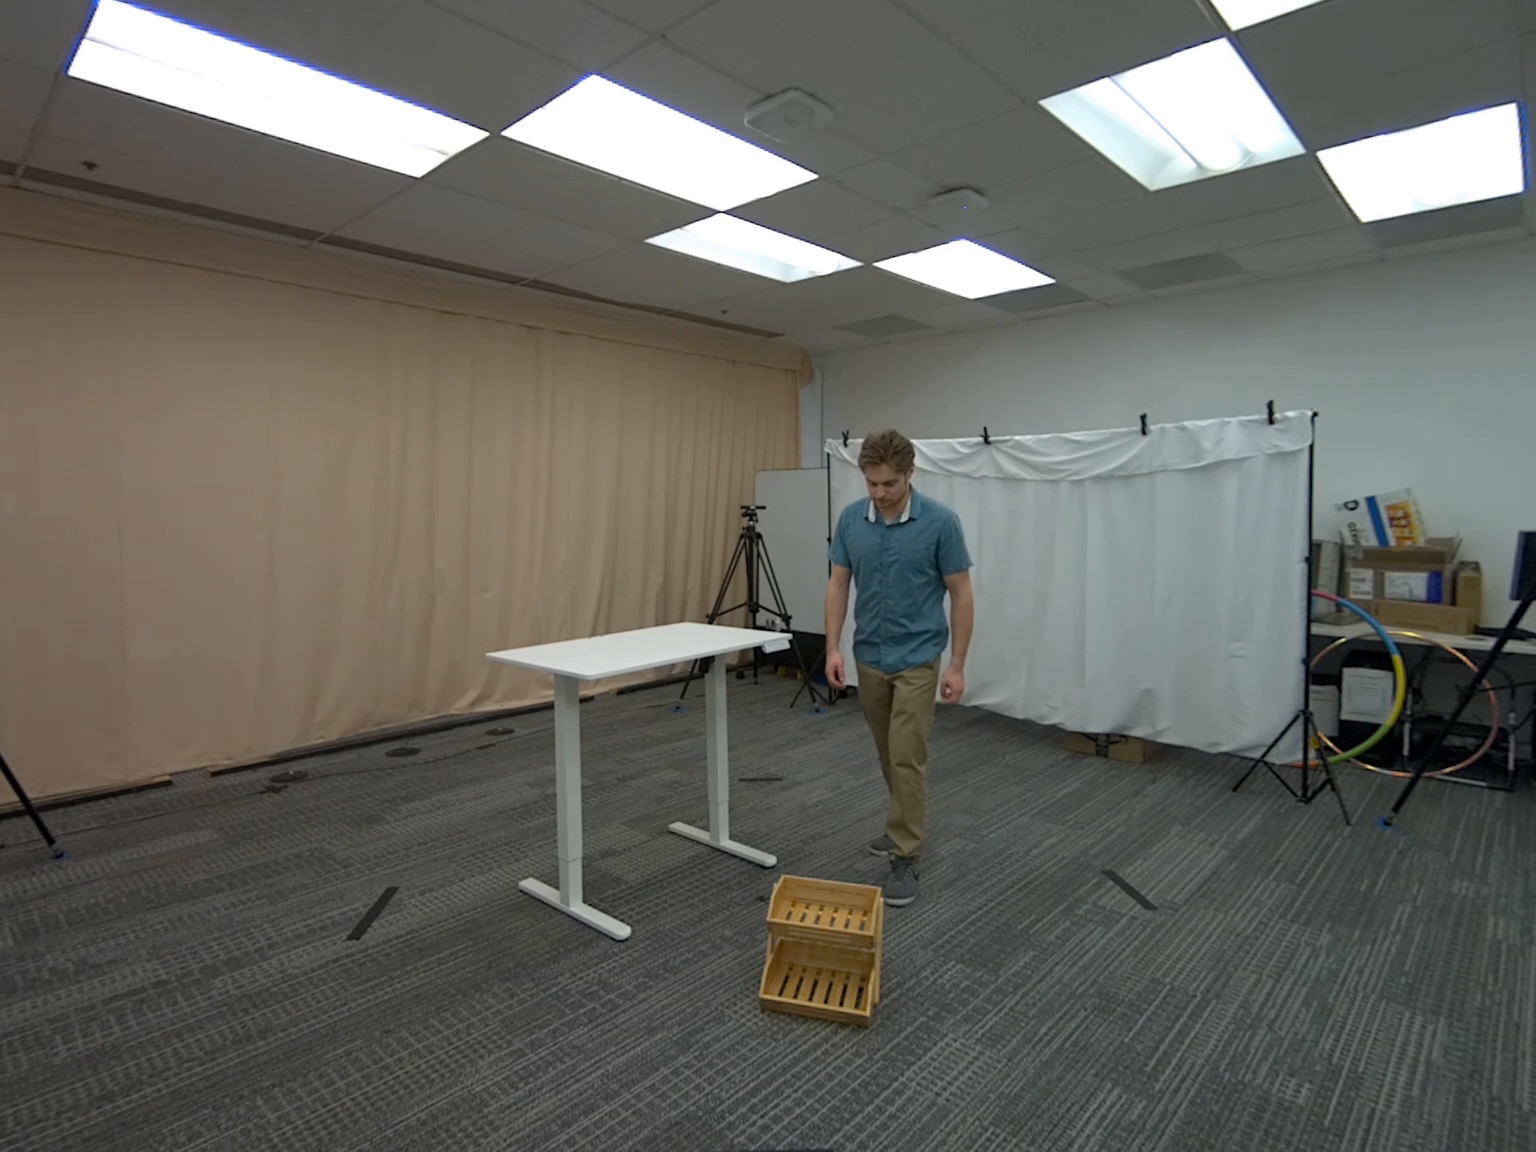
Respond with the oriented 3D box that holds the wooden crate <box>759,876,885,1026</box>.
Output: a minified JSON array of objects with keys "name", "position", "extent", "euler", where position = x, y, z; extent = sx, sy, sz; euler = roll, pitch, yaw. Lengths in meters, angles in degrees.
[{"name":"wooden crate","position":[0.166,1.061,2.395],"extent":[0.330,0.273,0.297],"euler":[1,3,14]}]
